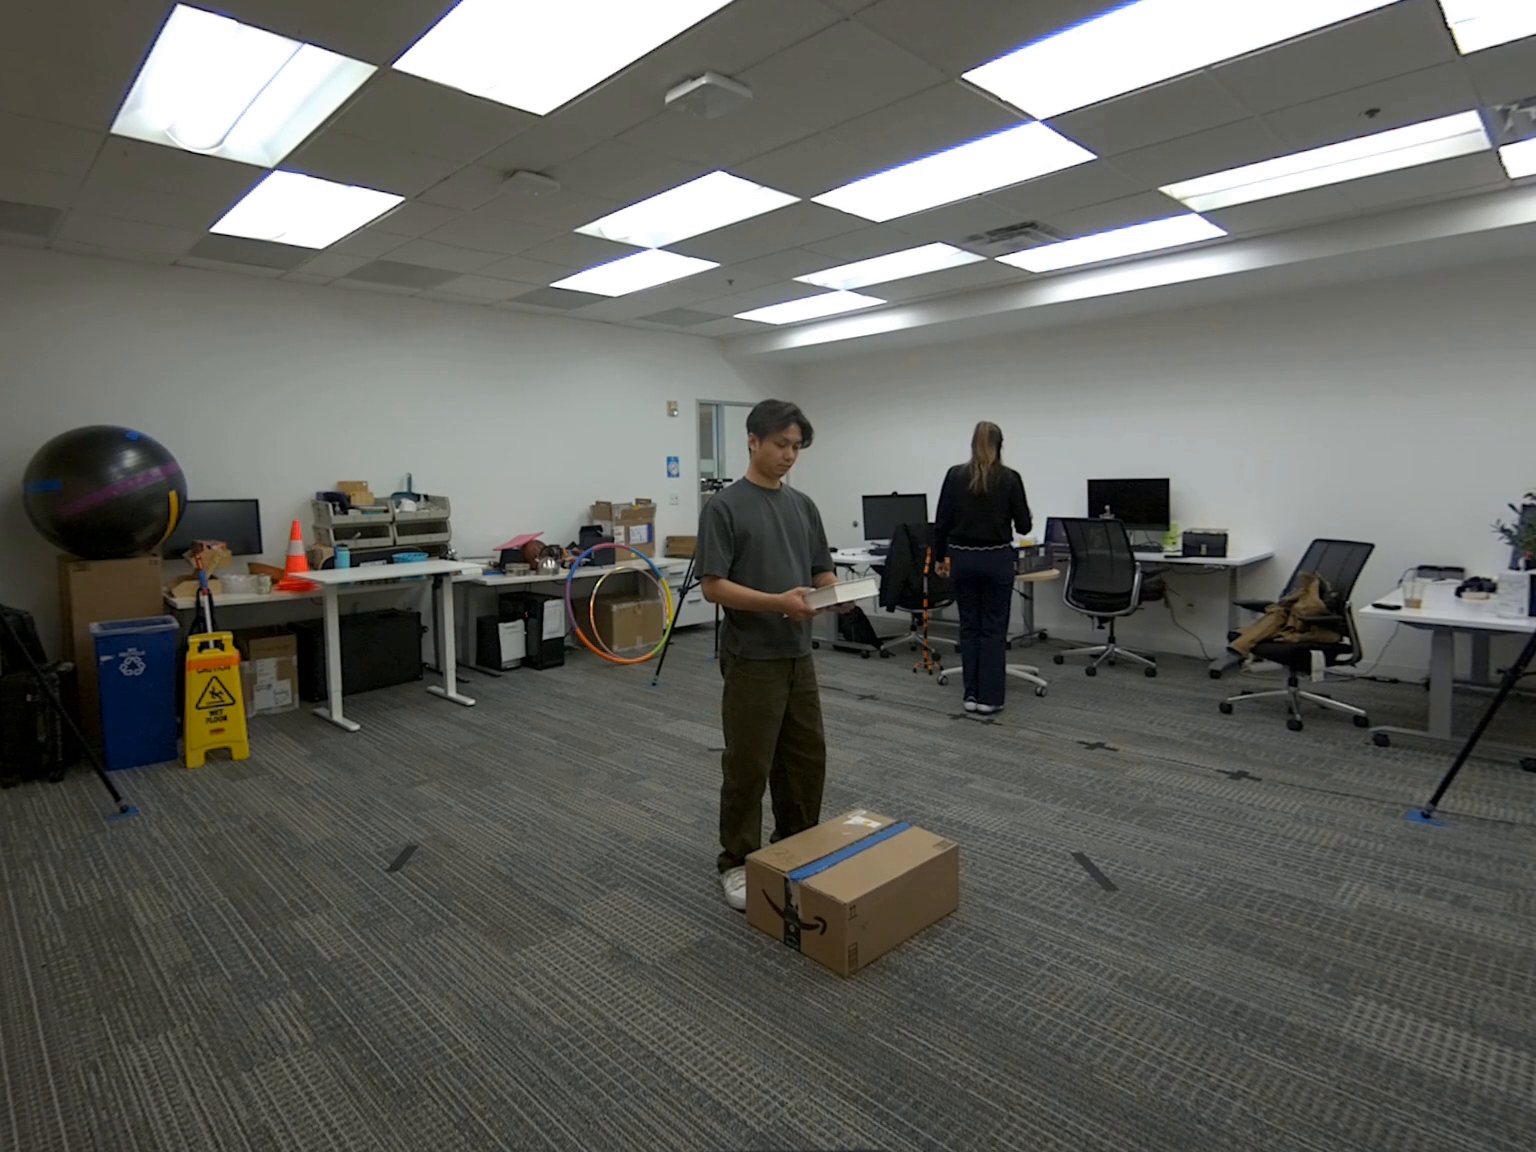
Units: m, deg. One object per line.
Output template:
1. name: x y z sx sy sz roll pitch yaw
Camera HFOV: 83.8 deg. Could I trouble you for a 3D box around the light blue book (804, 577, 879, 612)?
1. light blue book: 0.181 0.069 2.700 0.187 0.059 0.266 -10 -5 -43
